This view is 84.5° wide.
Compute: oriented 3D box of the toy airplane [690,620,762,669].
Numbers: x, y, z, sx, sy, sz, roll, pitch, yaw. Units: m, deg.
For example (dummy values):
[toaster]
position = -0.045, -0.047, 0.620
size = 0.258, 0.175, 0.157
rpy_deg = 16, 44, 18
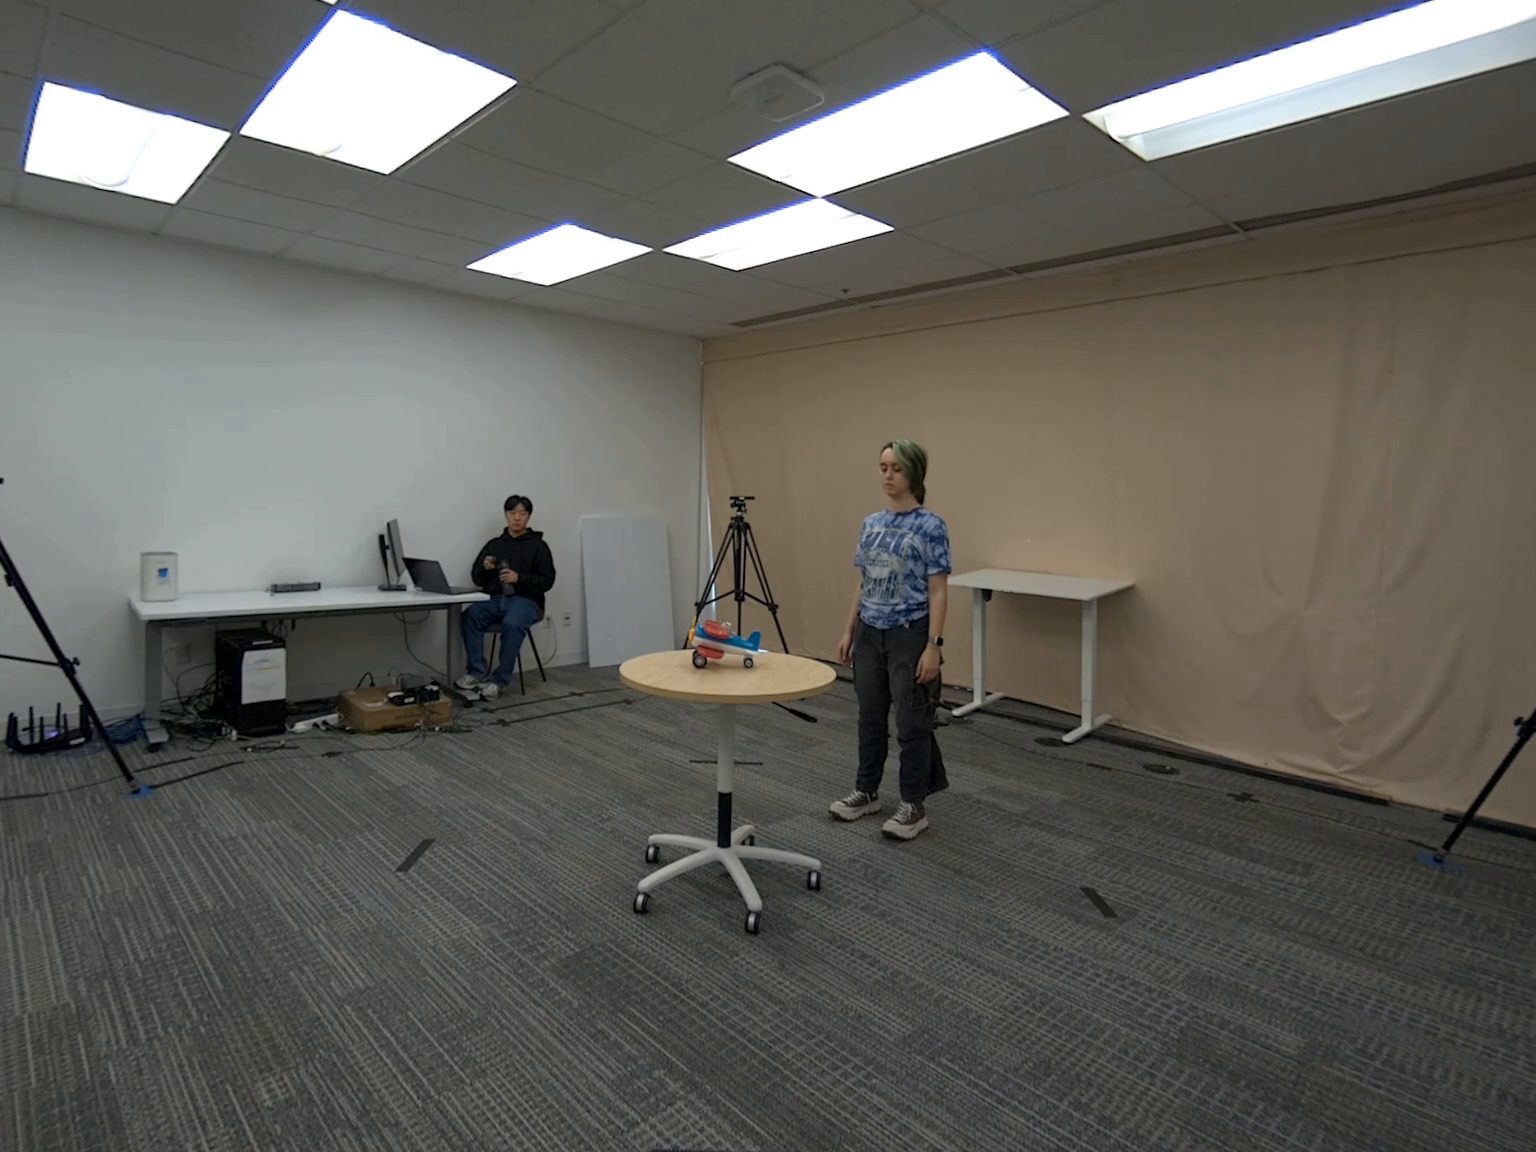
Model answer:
[toy airplane]
position = -0.171, 0.247, 3.046
size = 0.254, 0.156, 0.257
rpy_deg = -3, 7, -32
